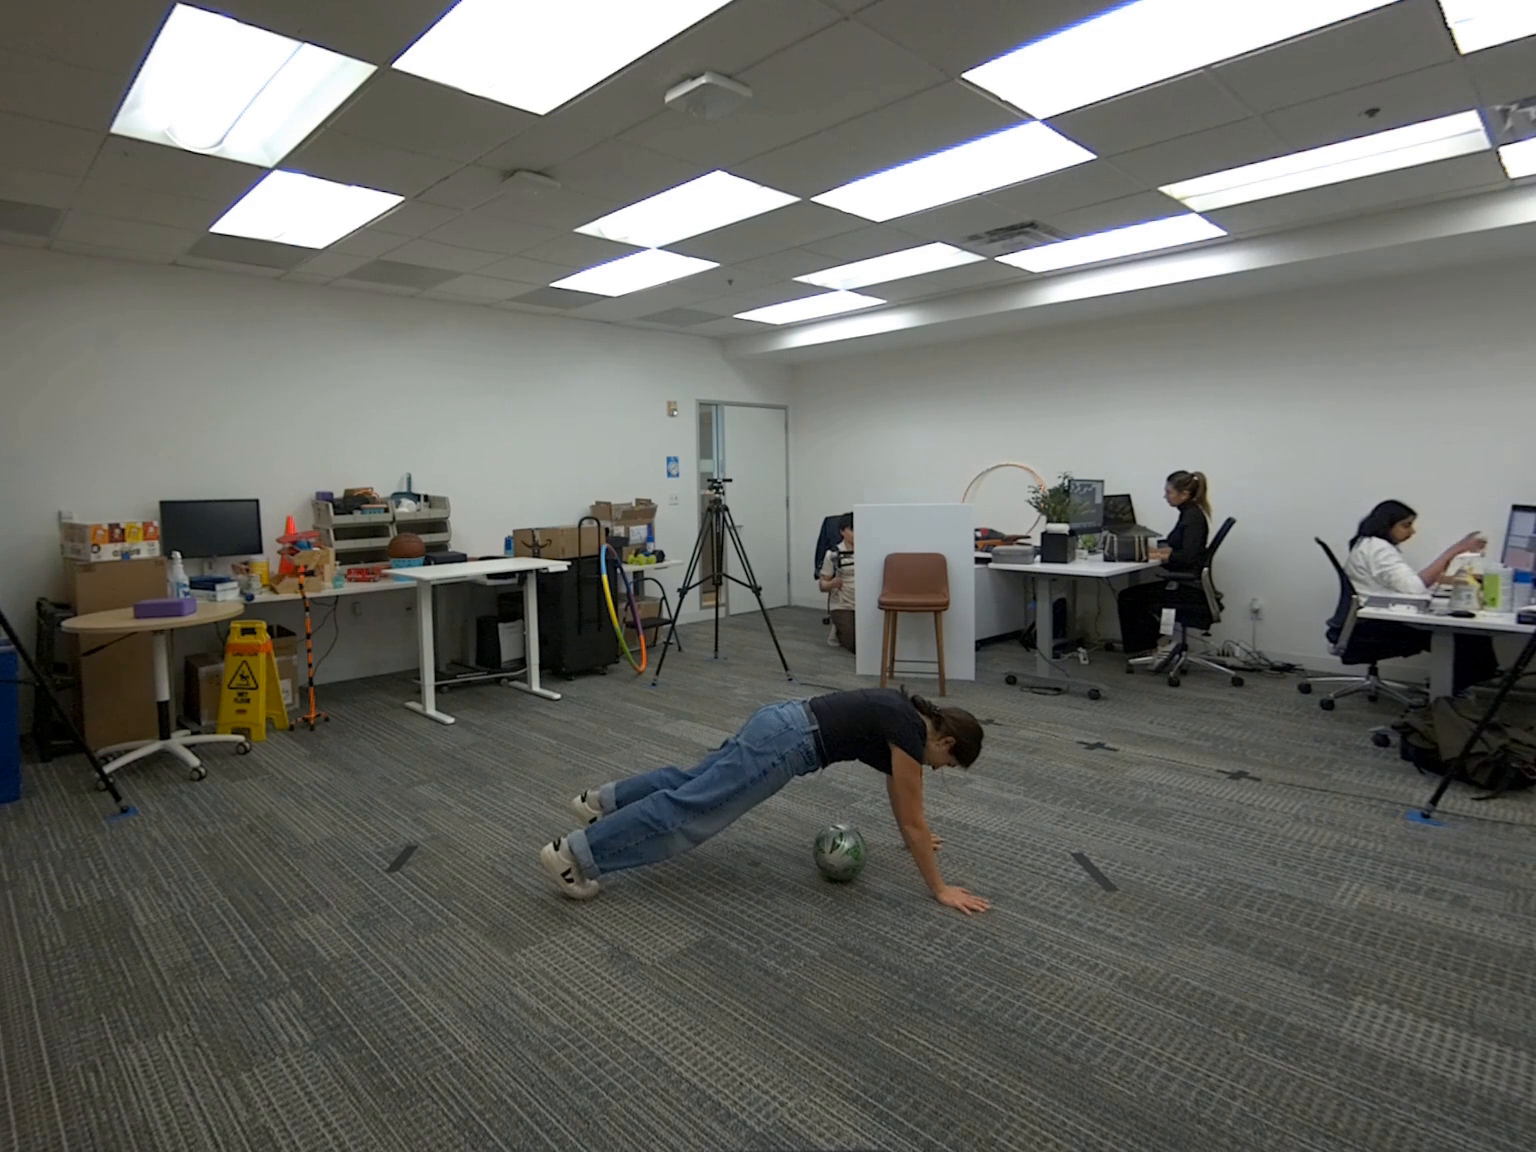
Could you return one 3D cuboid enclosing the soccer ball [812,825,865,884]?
[{"bbox_3d":[0.256,0.968,2.982,0.187,0.187,0.188,-1,5,-2],"label":"soccer ball"}]
